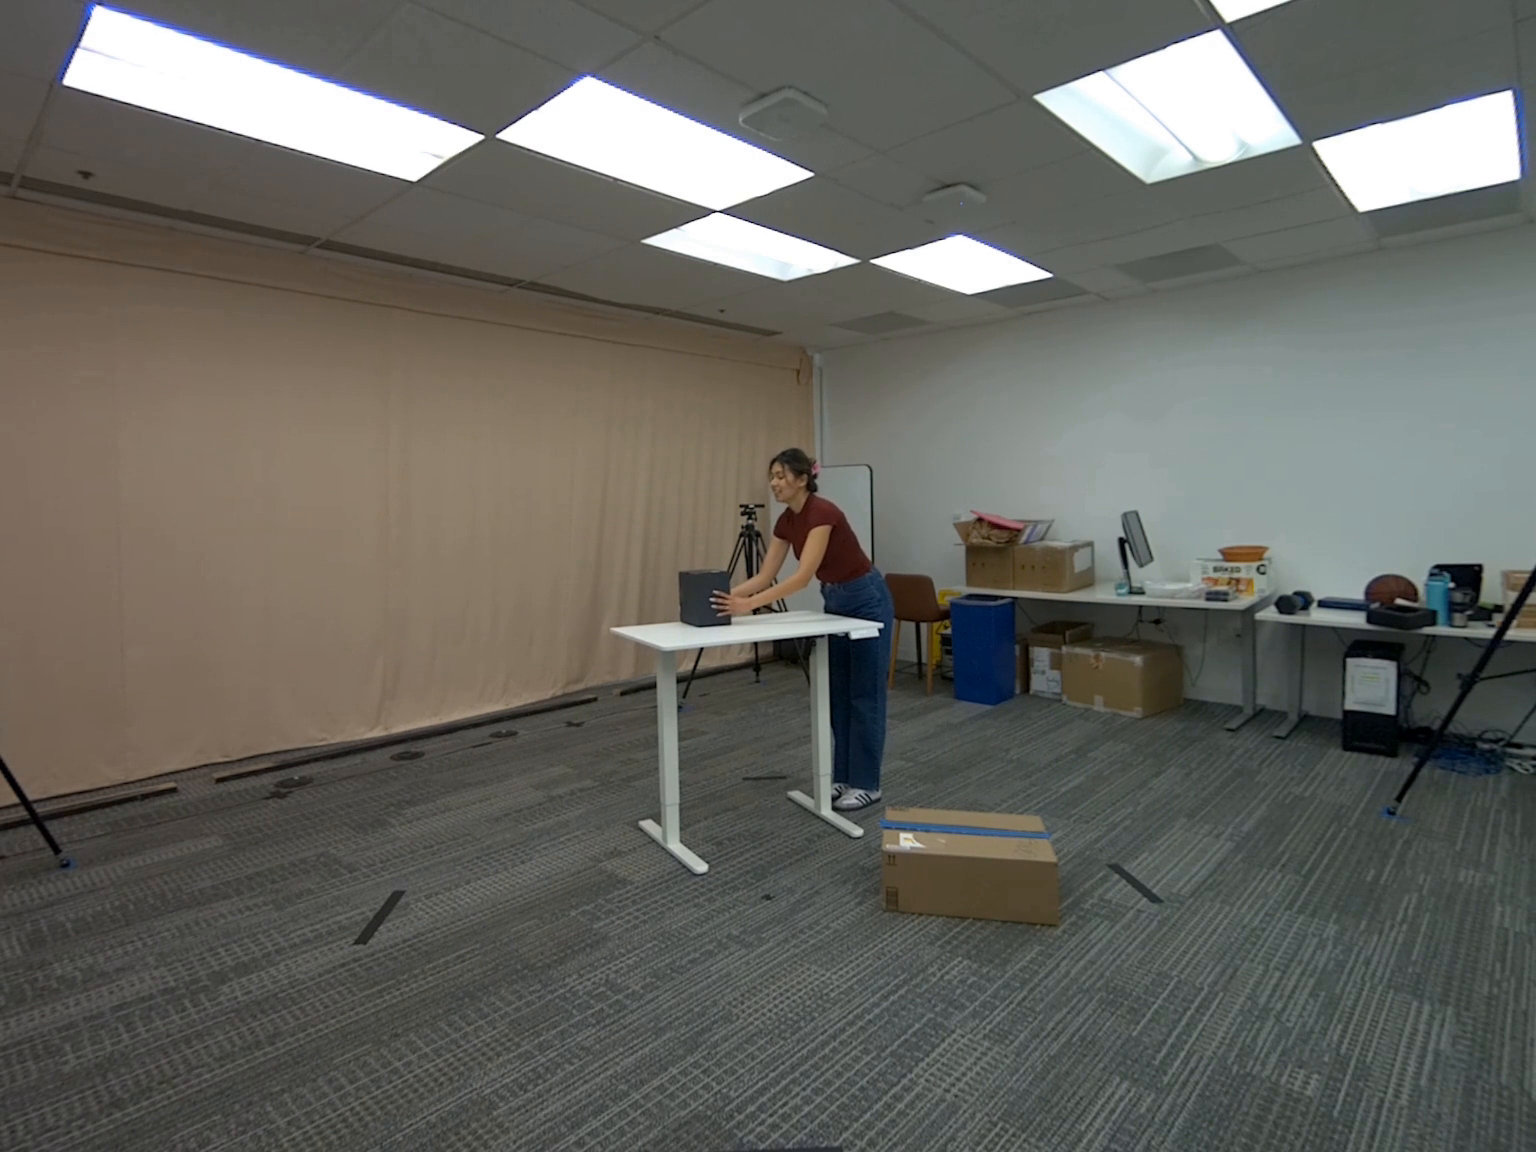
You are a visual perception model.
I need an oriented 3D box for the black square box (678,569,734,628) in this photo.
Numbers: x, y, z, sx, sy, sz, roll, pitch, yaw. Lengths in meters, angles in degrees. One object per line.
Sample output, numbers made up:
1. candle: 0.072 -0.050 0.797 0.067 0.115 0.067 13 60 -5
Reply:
1. black square box: -0.273 0.092 3.673 0.152 0.228 0.222 -3 2 -27
